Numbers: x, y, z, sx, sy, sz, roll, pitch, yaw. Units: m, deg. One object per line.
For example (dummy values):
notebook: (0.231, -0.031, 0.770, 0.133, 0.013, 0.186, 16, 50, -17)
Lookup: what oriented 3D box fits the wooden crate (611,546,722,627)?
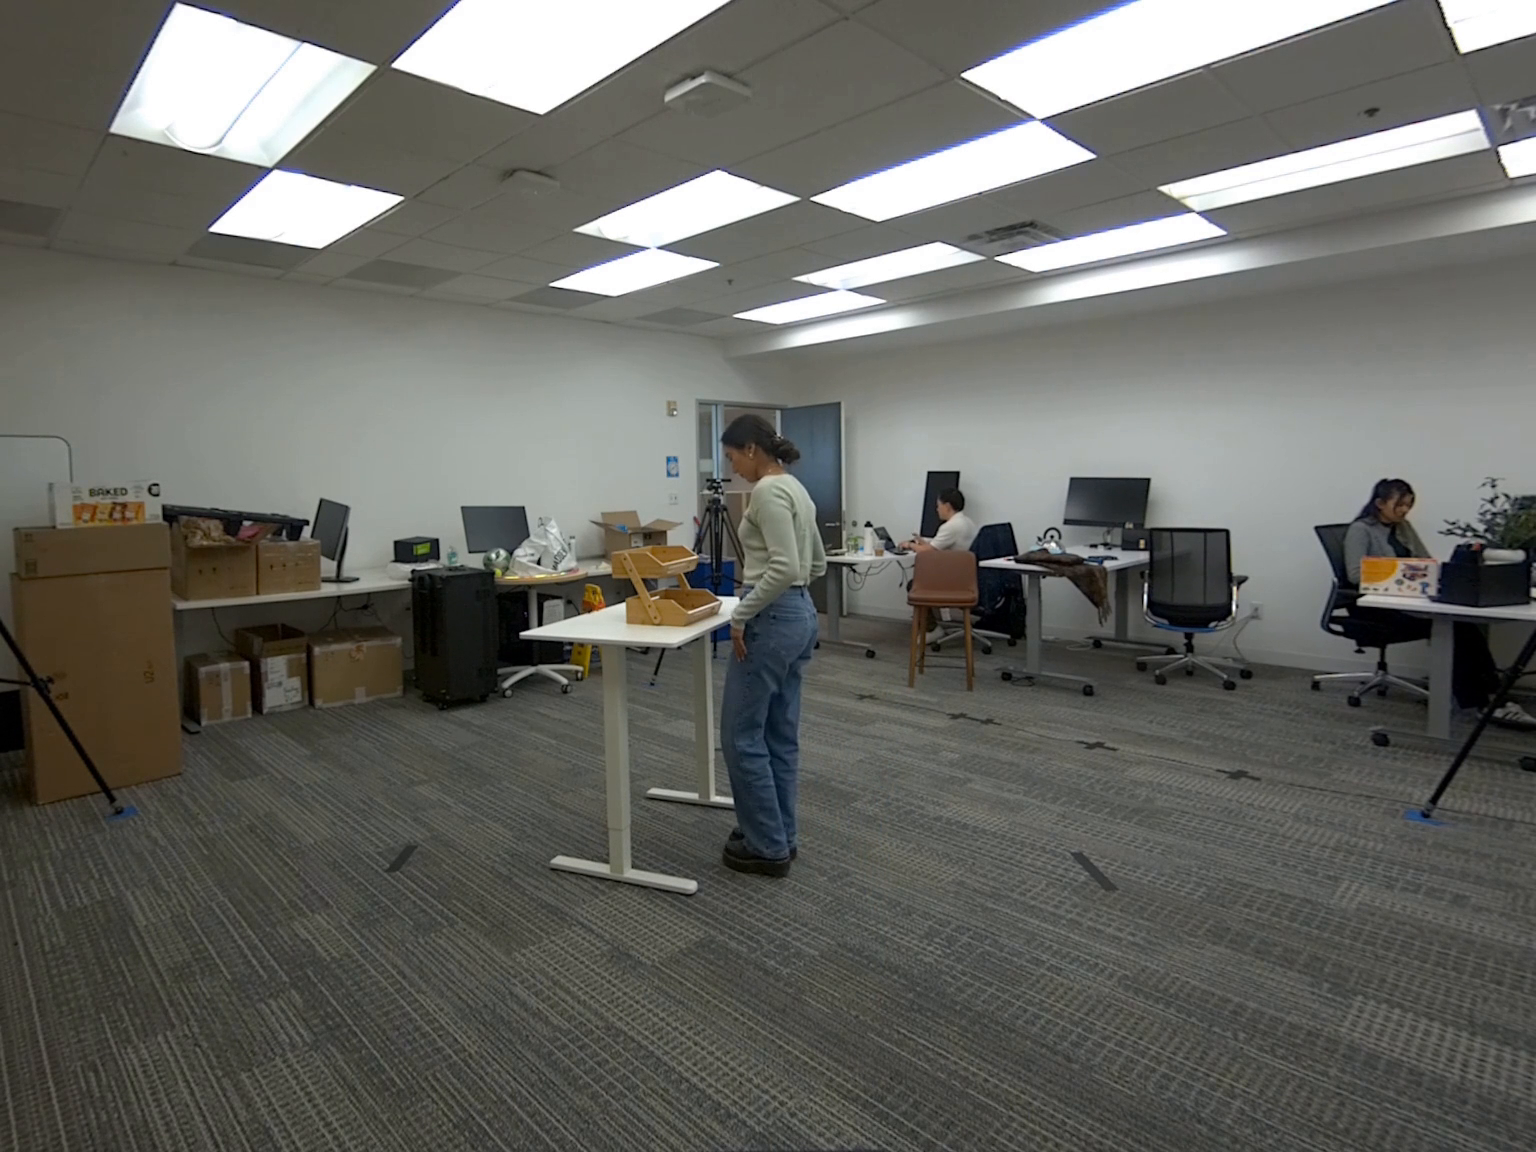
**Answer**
wooden crate: (-0.366, 0.026, 3.186, 0.308, 0.272, 0.319, 0, 6, 23)
